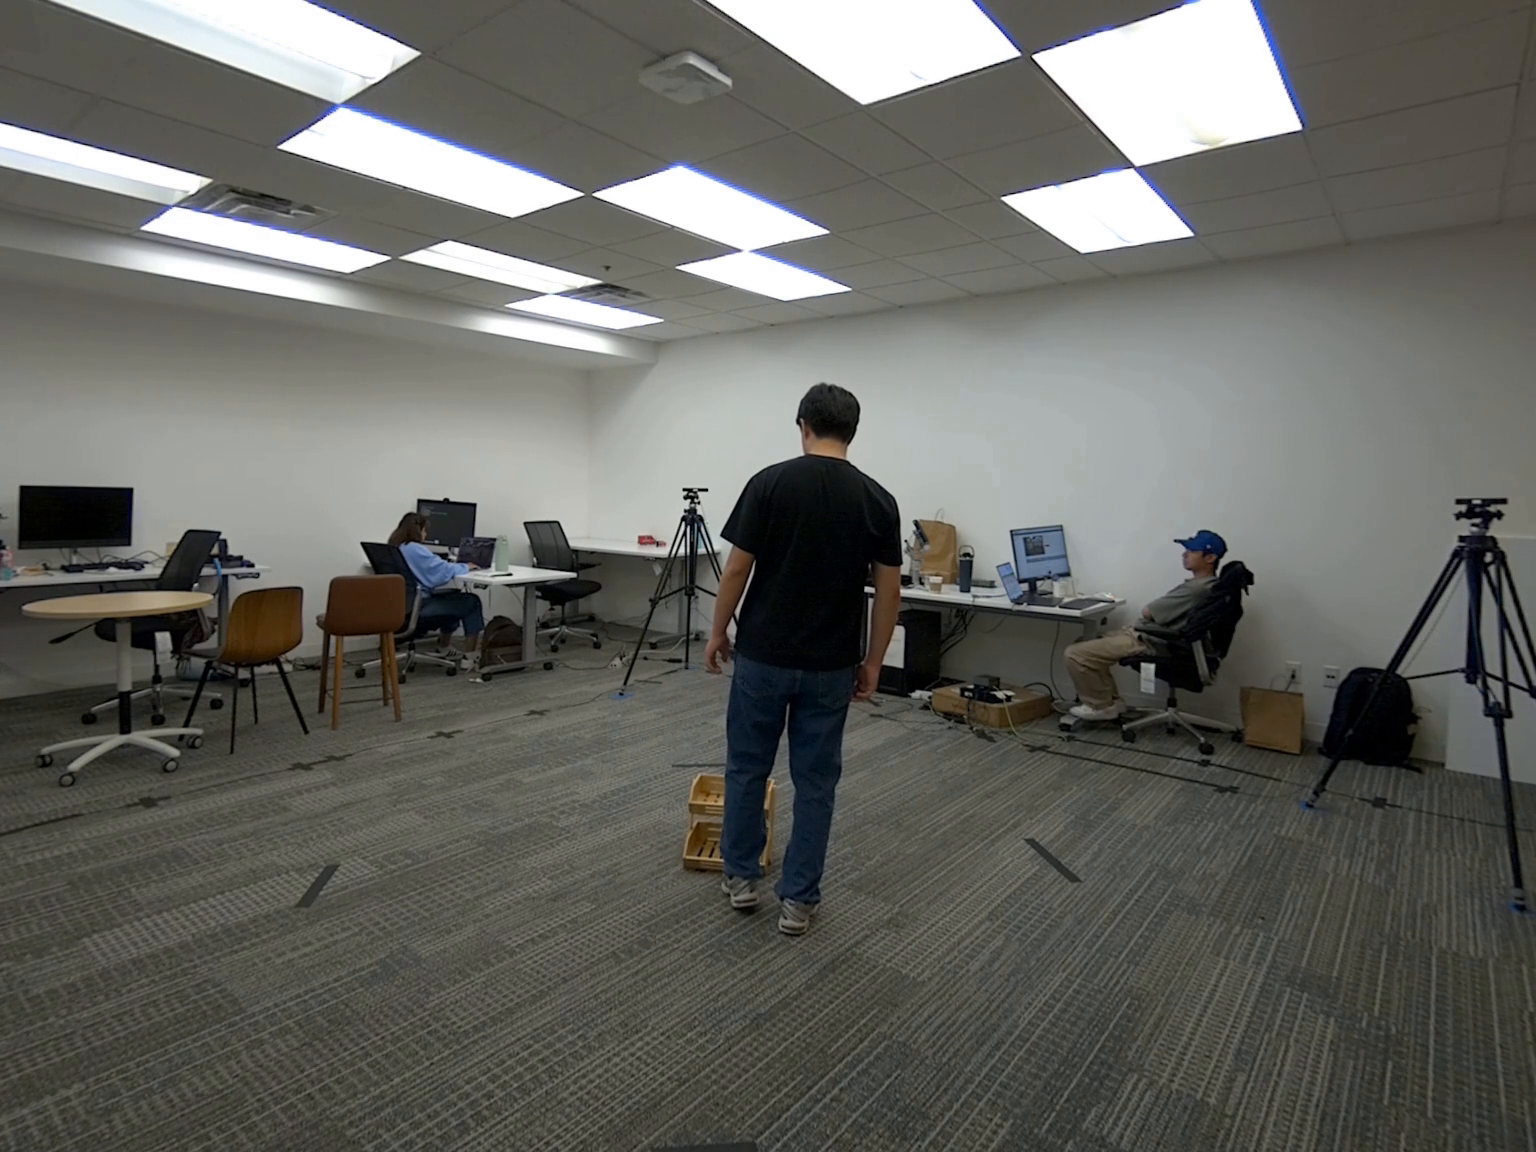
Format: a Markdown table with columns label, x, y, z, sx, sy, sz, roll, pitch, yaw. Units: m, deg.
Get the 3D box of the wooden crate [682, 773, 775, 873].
| label | x | y | z | sx | sy | sz | roll | pitch | yaw |
| --- | --- | --- | --- | --- | --- | --- | --- | --- | --- |
| wooden crate | -0.150 | 0.927 | 3.204 | 0.327 | 0.272 | 0.300 | 1 | 4 | 7 |
